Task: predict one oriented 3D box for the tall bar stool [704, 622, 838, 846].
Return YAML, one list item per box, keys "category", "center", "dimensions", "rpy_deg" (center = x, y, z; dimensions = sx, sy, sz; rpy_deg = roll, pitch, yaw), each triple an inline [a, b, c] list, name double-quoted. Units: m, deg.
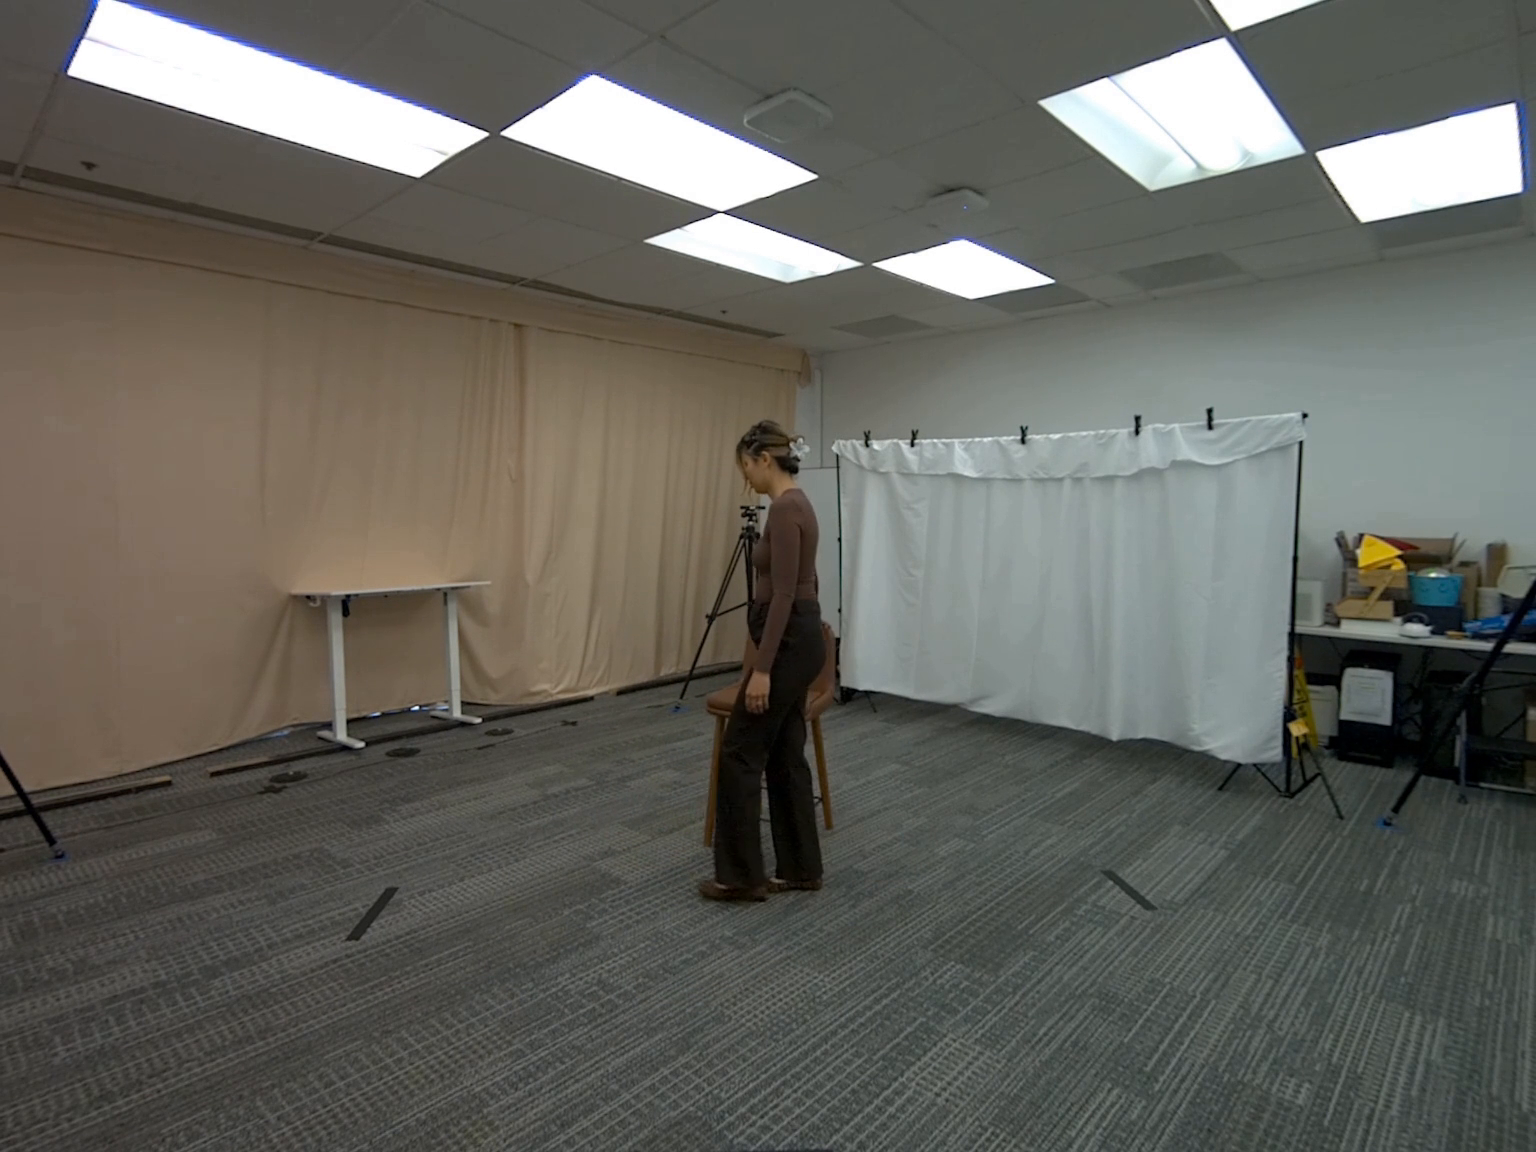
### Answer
- category: "tall bar stool"
  center: [0.022, 0.659, 3.526]
  dimensions: [0.469, 0.889, 0.455]
  rpy_deg: [2, 1, 29]
